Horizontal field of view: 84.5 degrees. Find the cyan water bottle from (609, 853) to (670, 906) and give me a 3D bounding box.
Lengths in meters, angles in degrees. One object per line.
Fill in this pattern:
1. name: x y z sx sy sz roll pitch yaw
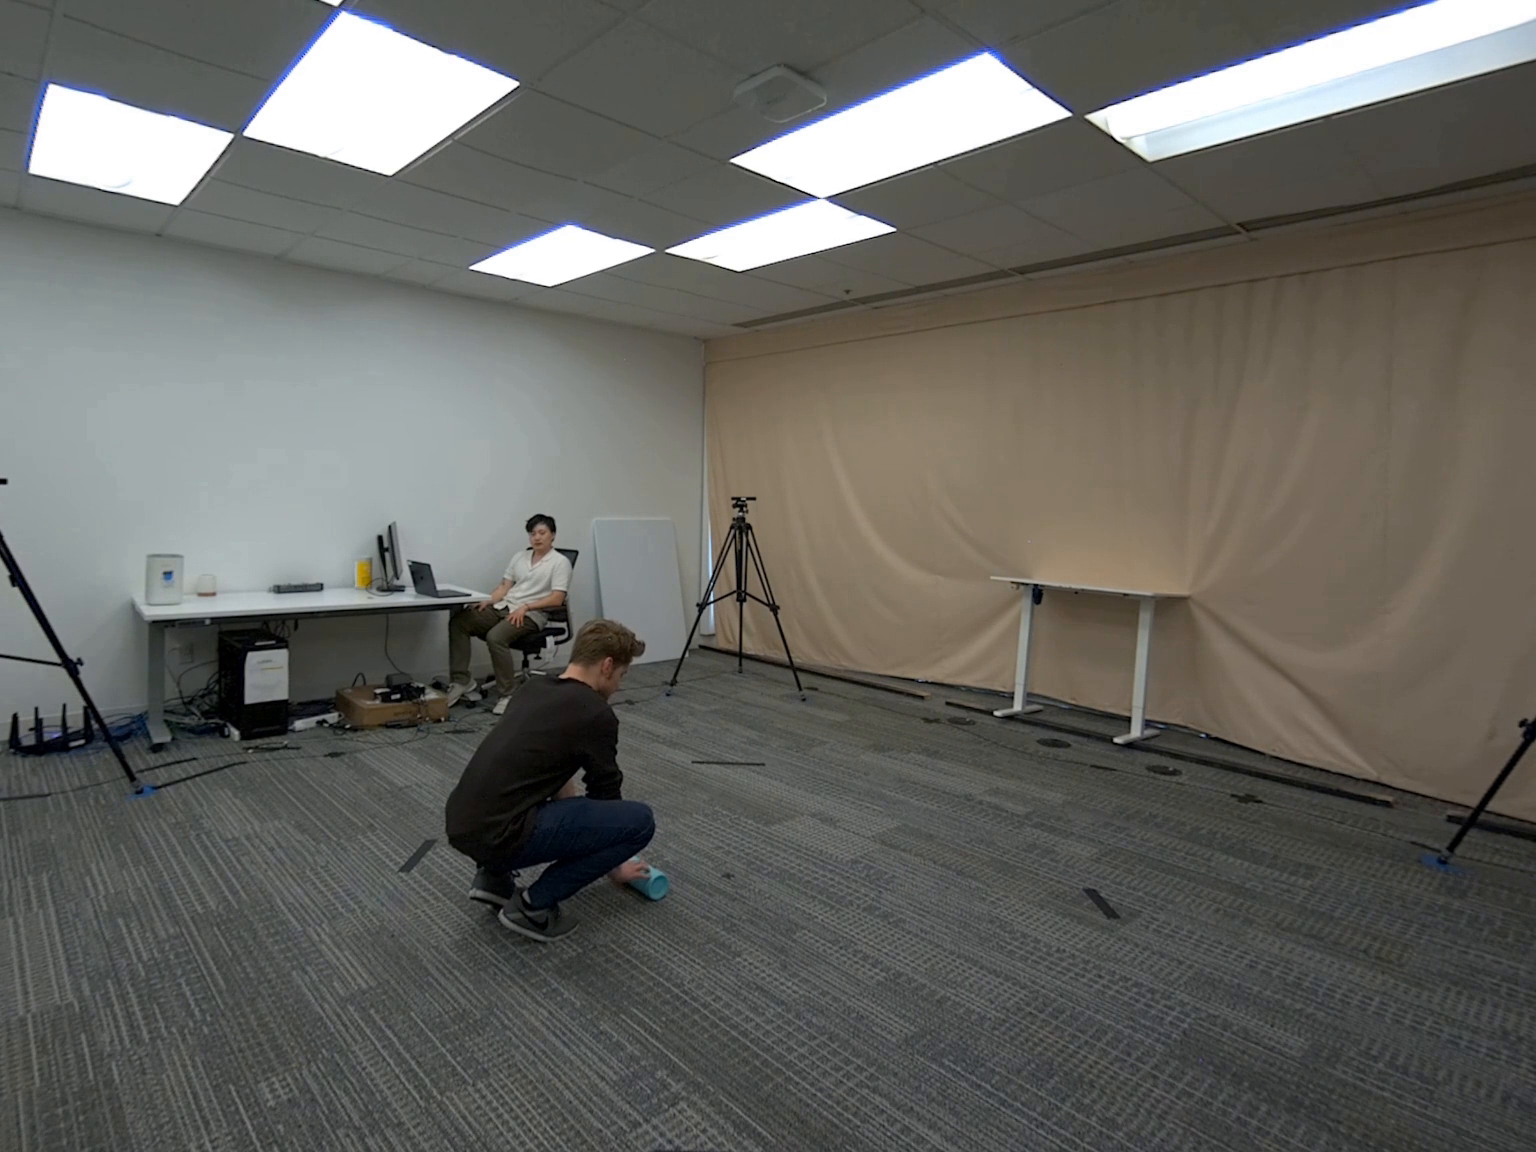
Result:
1. cyan water bottle: -0.469 1.056 3.007 0.090 0.092 0.290 -2 5 -39
